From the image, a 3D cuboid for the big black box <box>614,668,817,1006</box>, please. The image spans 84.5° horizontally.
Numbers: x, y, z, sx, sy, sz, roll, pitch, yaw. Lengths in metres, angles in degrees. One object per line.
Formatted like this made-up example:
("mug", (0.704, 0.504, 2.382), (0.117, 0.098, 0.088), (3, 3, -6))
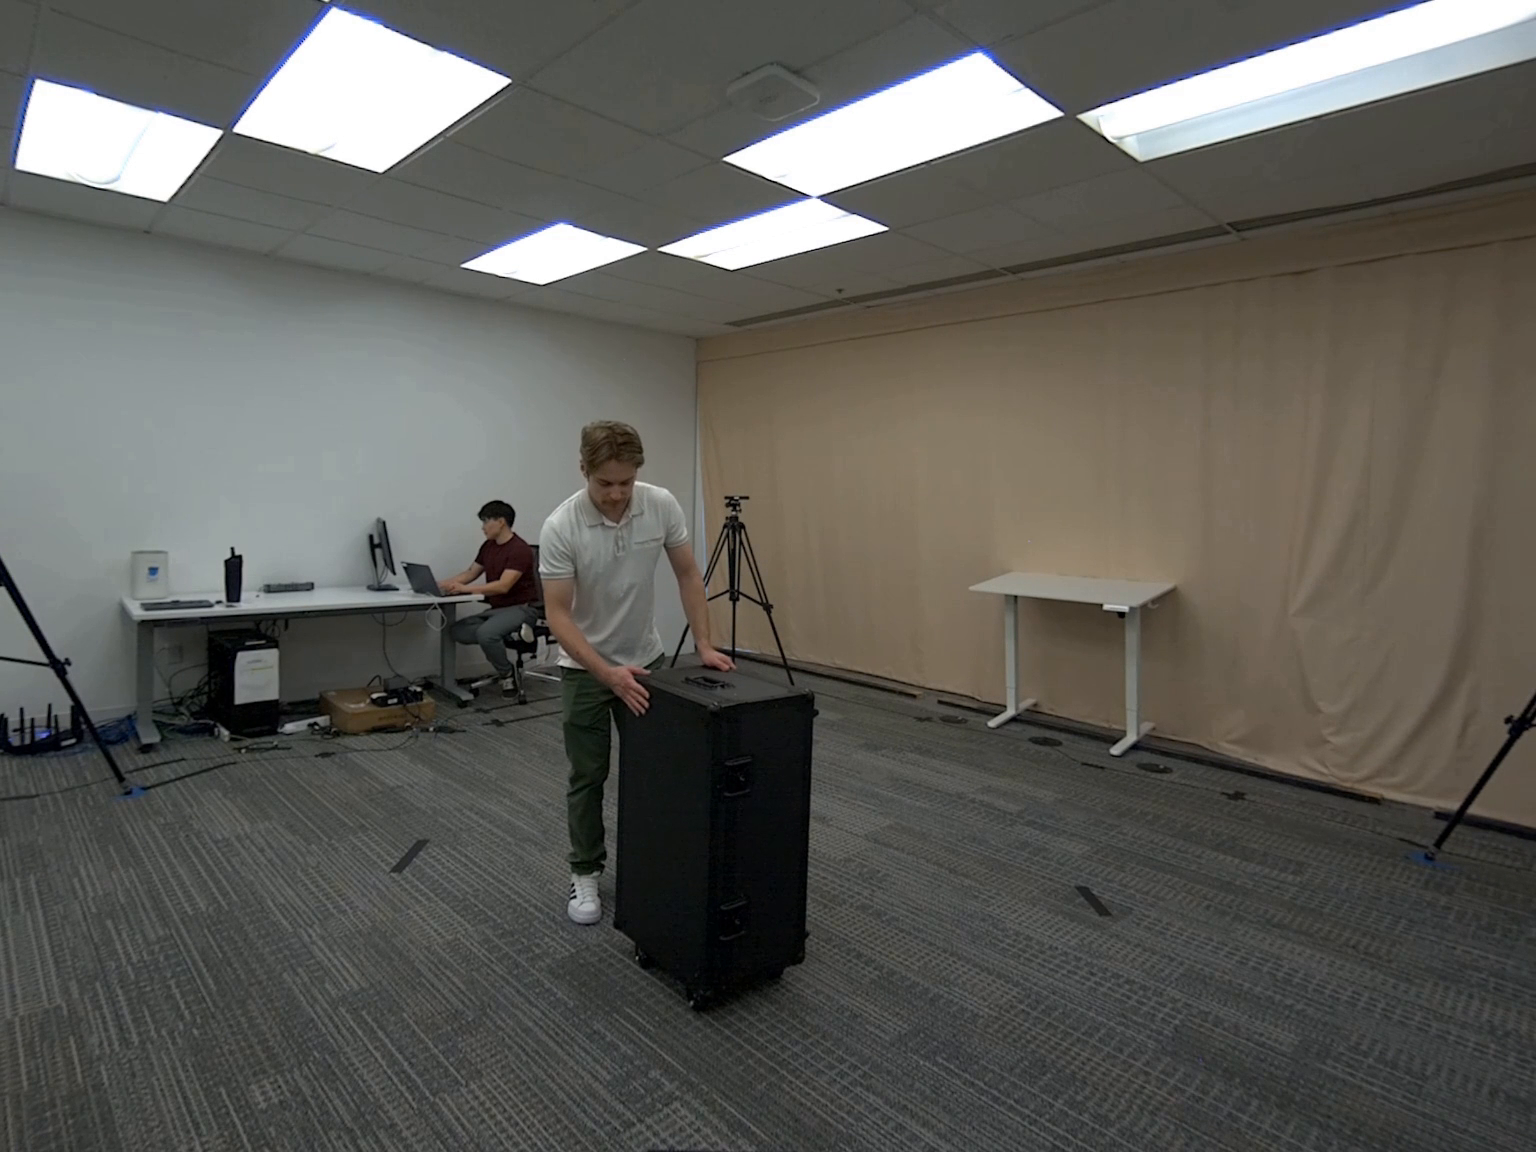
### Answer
("big black box", (-0.161, 0.742, 2.469), (0.387, 0.860, 0.534), (0, 4, -39))
